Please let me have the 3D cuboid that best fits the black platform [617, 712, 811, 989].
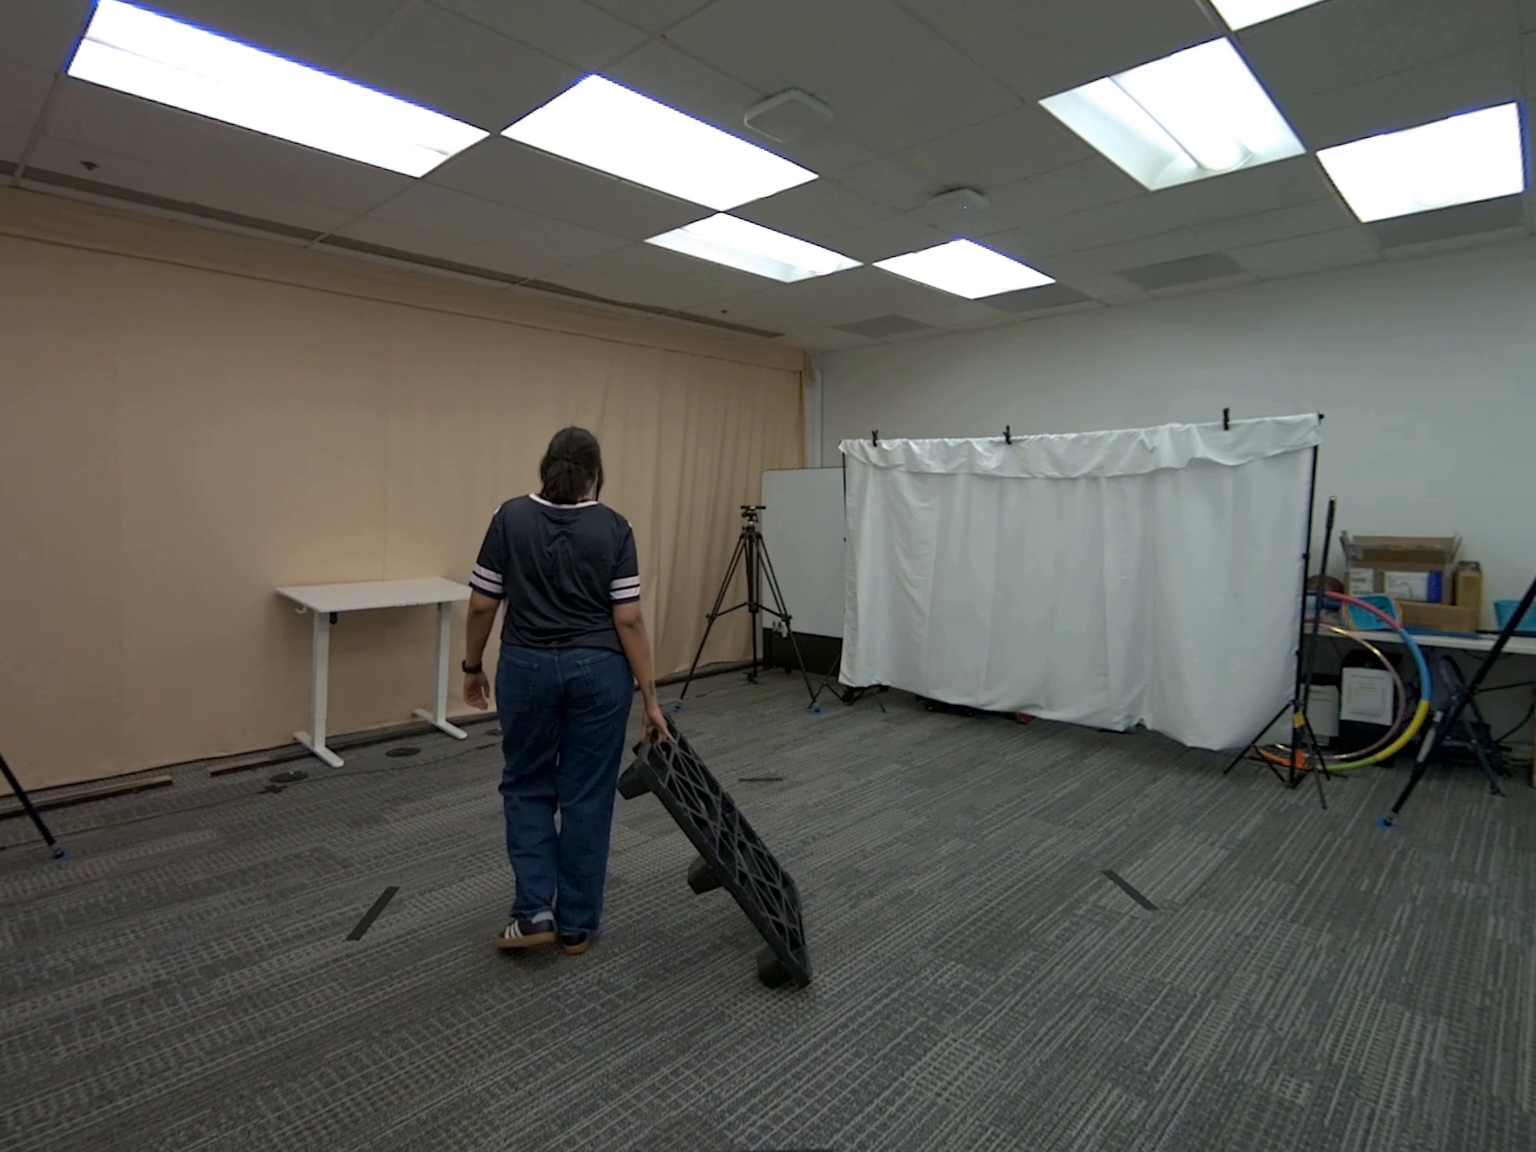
[{"bbox_3d":[-0.170,0.843,2.639,0.143,0.804,0.606,-36,3,1],"label":"black platform"}]
